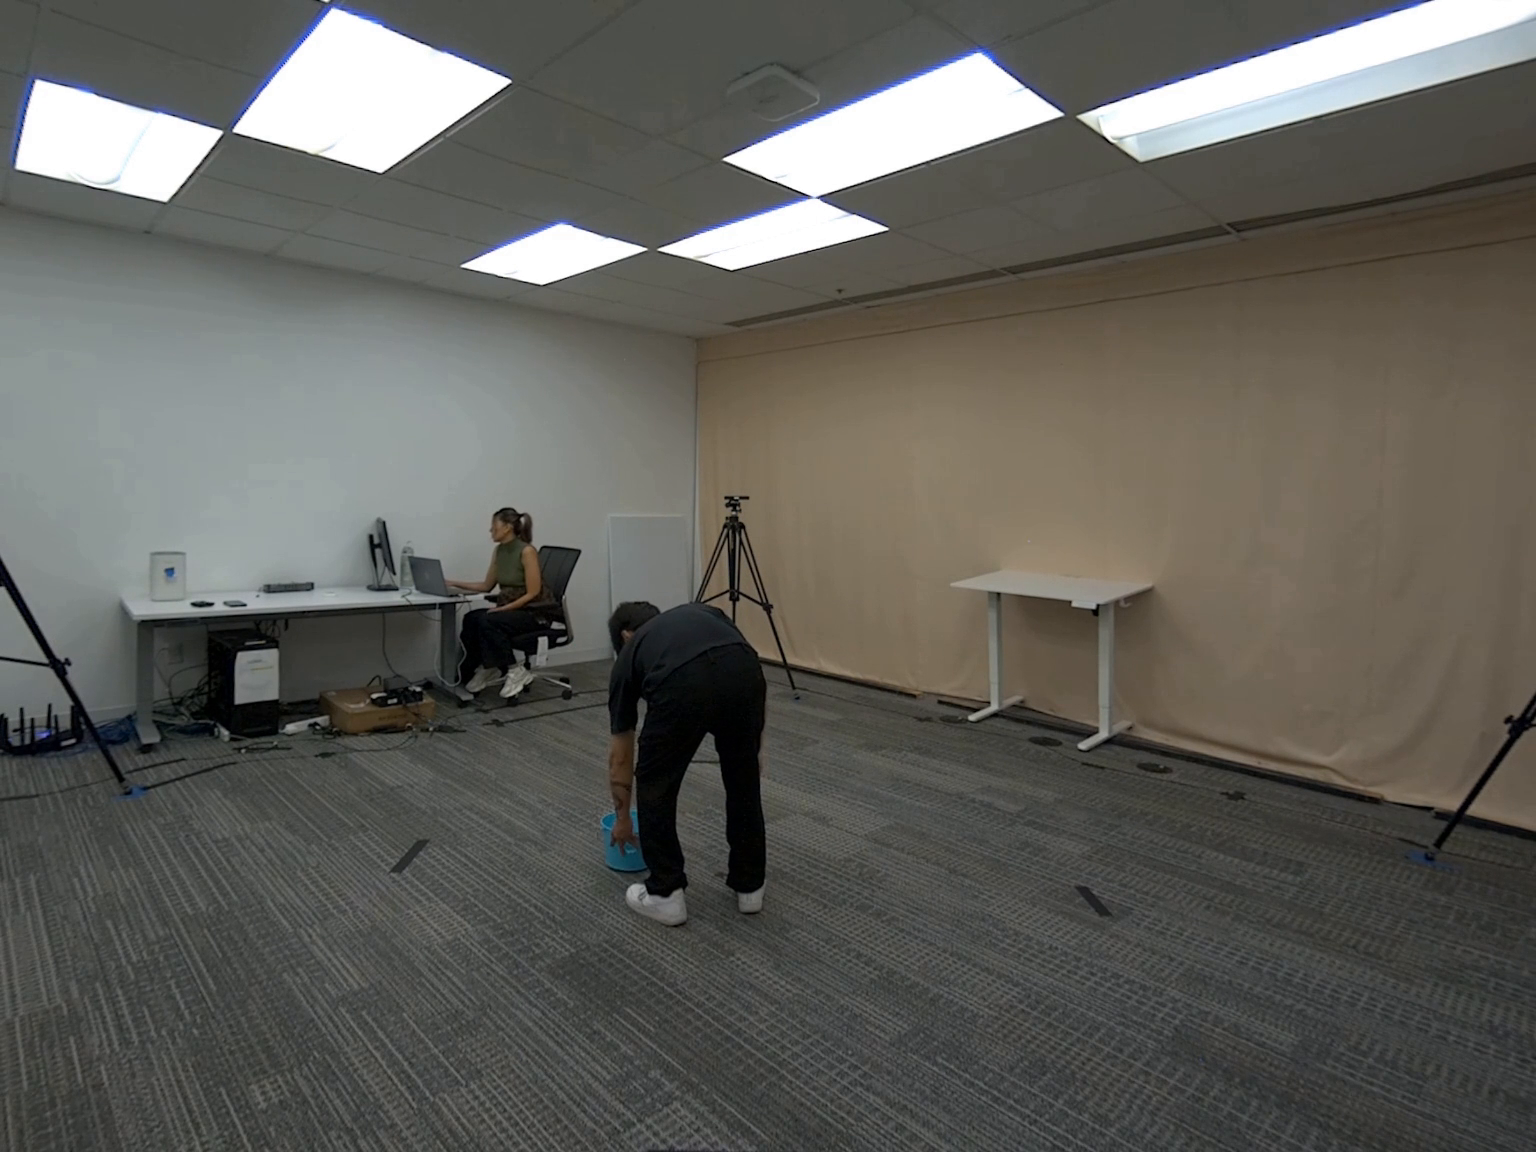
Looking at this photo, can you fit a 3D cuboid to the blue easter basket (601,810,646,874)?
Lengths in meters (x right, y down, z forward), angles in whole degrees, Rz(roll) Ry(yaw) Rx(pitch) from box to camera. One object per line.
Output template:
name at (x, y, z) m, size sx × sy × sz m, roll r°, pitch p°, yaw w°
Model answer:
blue easter basket at (-0.528, 0.999, 3.188) m, size 0.243 × 0.155 × 0.244 m, roll 3°, pitch 4°, yaw -2°
